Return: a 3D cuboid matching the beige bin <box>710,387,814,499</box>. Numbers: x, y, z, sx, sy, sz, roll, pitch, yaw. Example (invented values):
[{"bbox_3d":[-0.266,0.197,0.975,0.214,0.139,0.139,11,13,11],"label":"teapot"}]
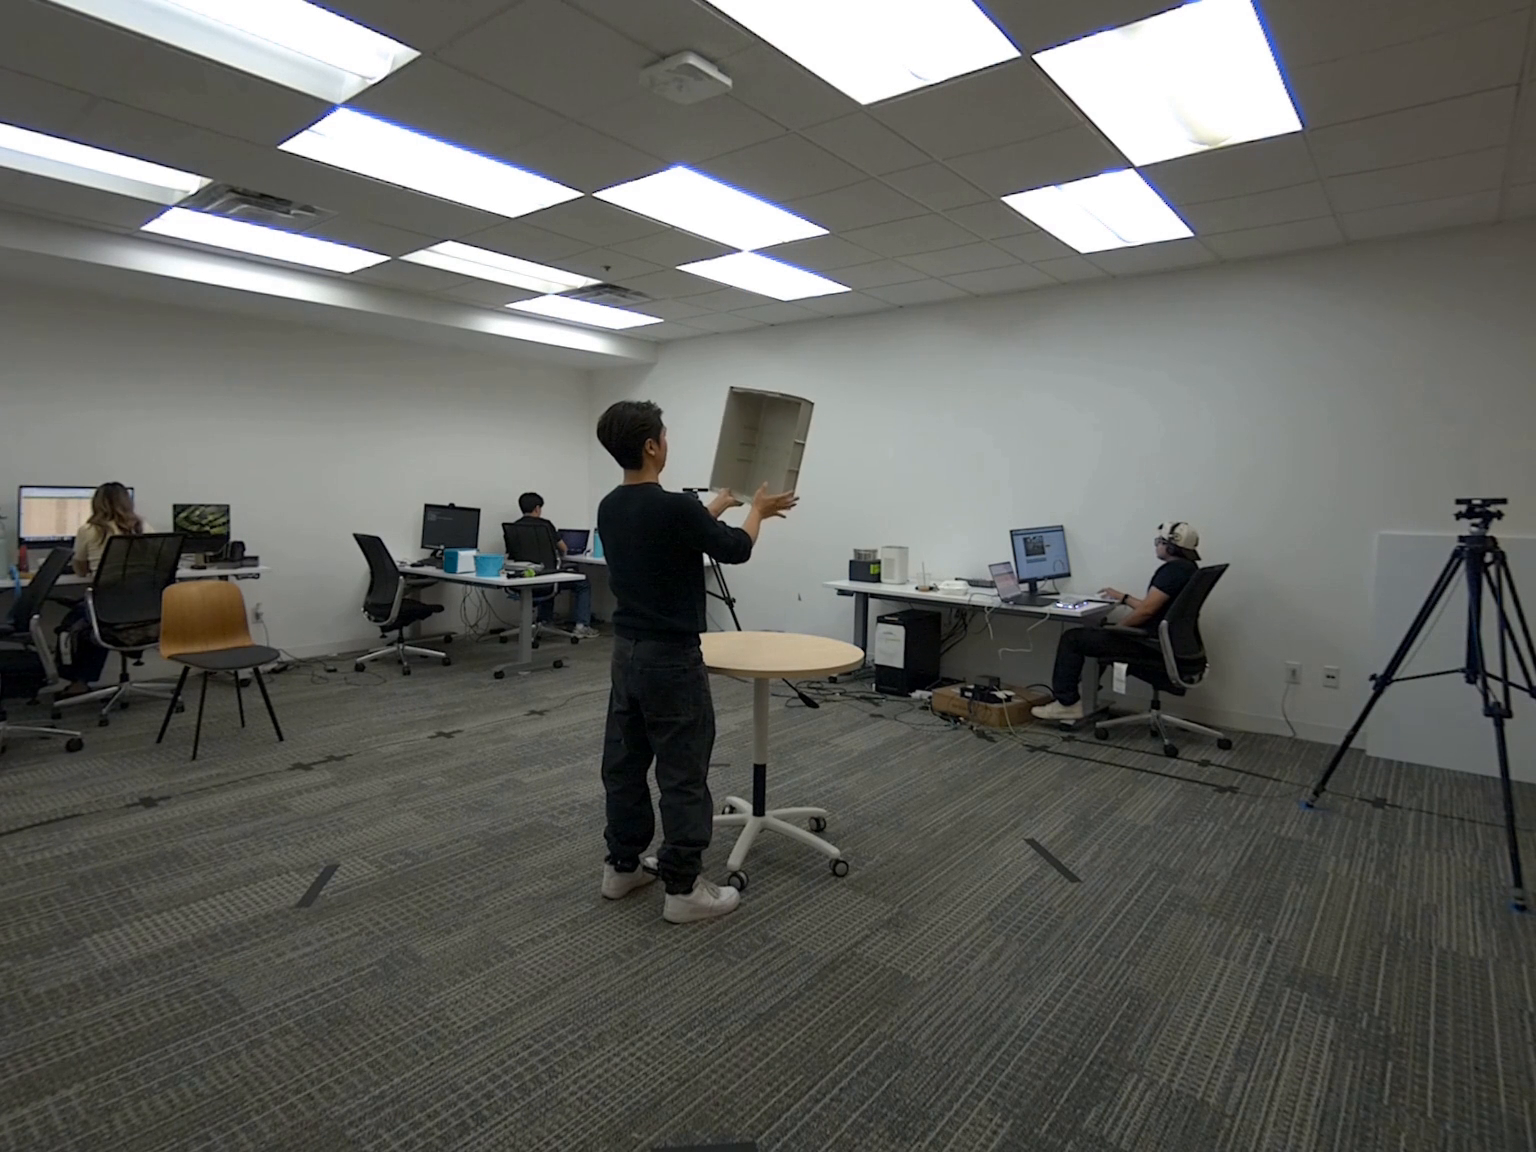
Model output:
[{"bbox_3d":[-0.028,-0.488,3.232,0.183,0.420,0.392,7,9,-34],"label":"beige bin"}]
